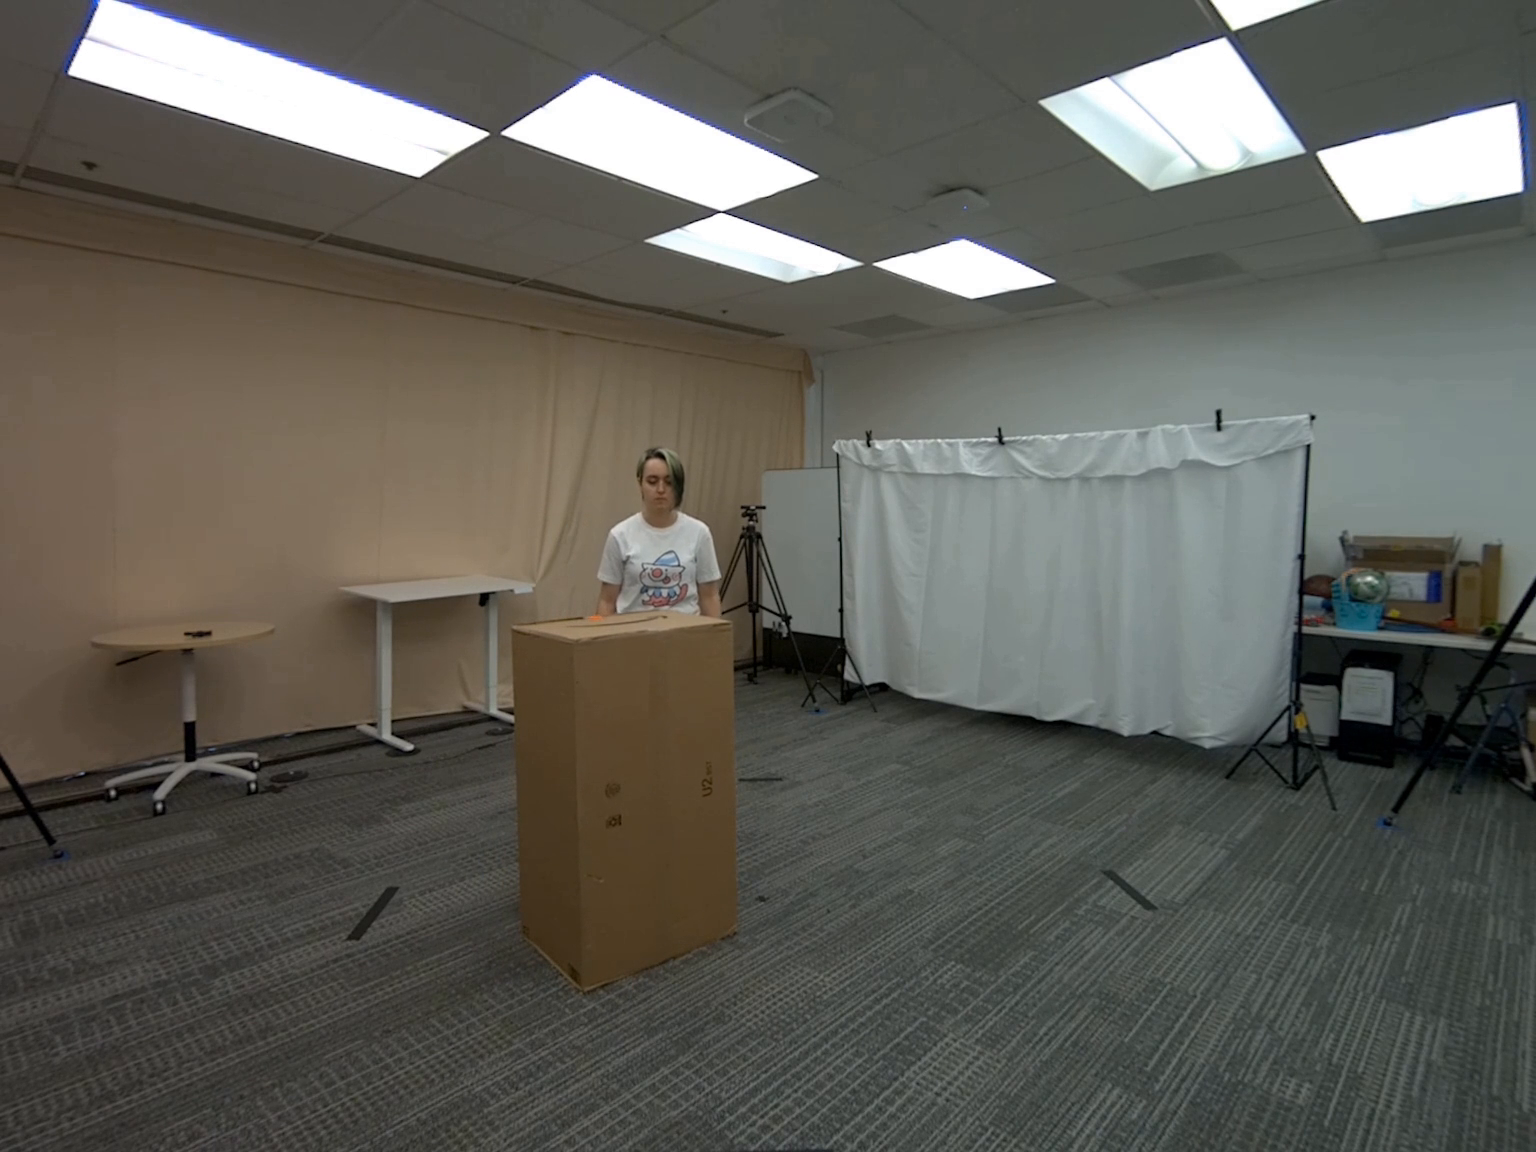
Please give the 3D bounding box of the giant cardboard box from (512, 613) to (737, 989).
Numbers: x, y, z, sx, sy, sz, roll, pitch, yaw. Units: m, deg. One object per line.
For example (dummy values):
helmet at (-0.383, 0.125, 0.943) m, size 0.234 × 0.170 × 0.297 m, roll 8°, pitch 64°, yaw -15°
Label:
giant cardboard box at (-0.455, 0.663, 2.717) m, size 0.566 × 1.024 × 0.461 m, roll -4°, pitch 5°, yaw -40°
